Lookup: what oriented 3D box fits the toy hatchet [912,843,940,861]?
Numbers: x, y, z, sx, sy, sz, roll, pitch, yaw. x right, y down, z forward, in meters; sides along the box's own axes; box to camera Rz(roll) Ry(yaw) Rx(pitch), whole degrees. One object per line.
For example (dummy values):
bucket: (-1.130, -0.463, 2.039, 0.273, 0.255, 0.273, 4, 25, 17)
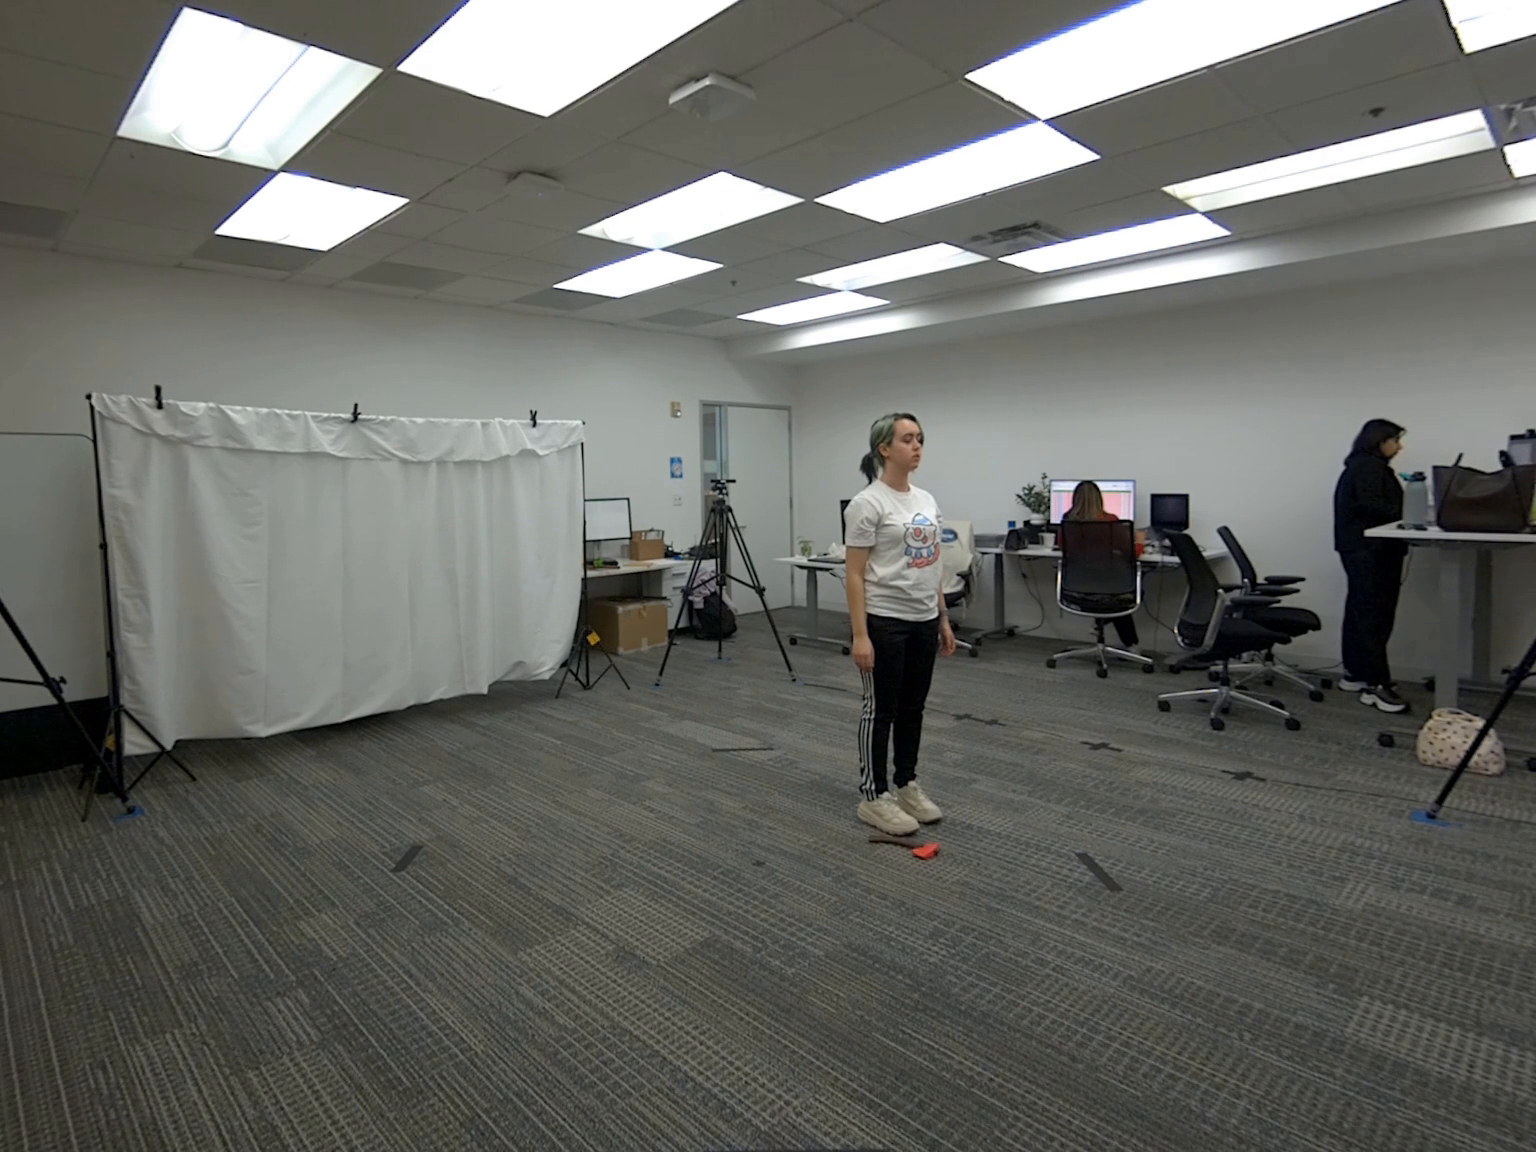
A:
toy hatchet: (0.502, 1.015, 3.199, 0.275, 0.029, 0.129, -2, 8, 18)
